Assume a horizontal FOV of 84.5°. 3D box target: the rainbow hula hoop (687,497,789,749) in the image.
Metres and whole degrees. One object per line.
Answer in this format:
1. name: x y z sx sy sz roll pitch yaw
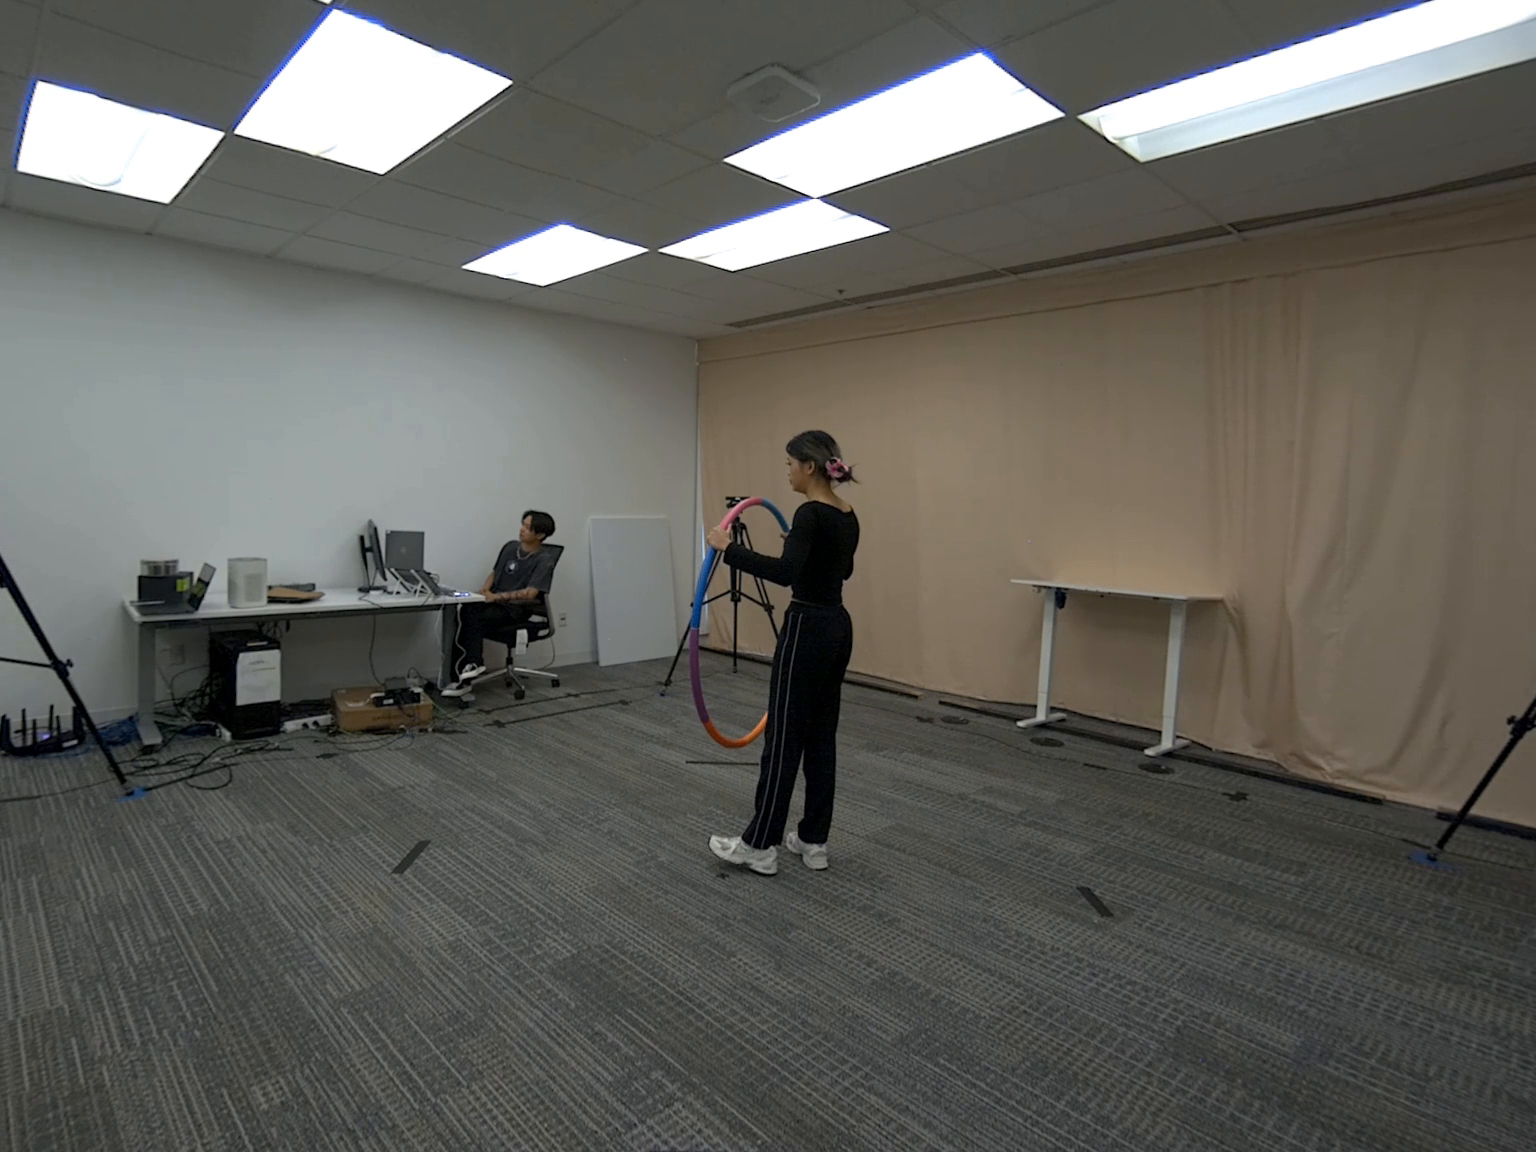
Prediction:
1. rainbow hula hoop: -0.074 0.182 3.361 0.036 0.976 0.962 4 5 25
